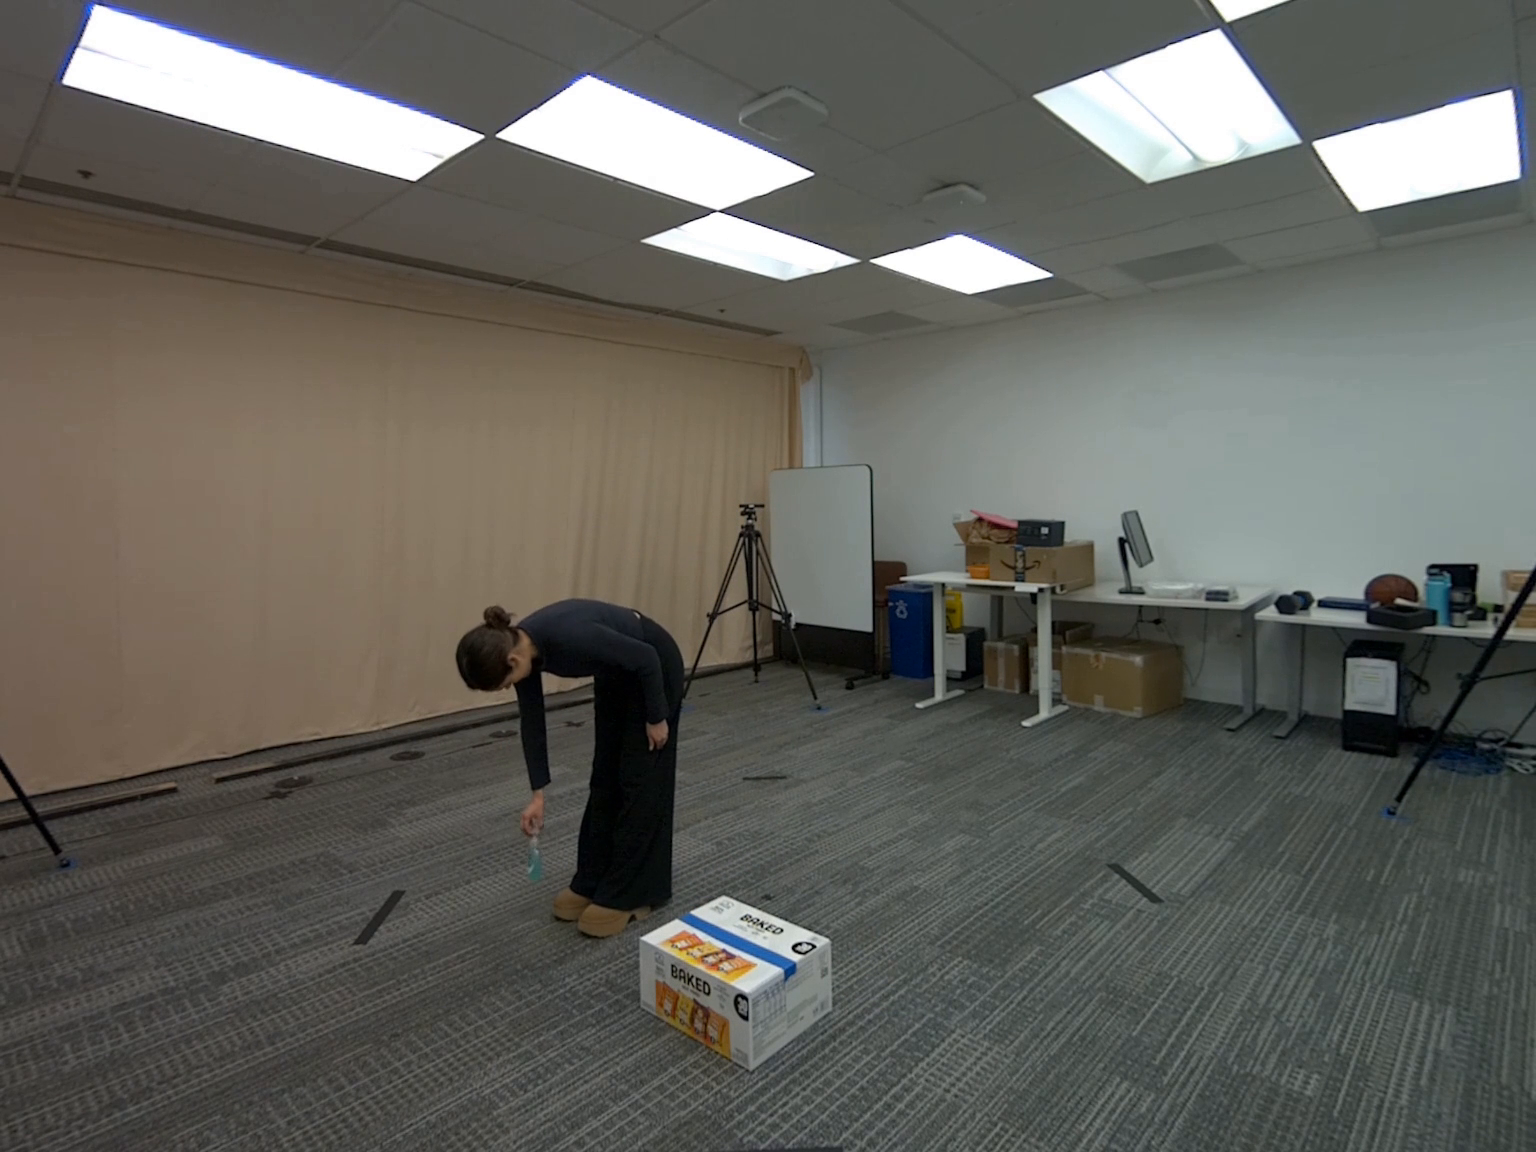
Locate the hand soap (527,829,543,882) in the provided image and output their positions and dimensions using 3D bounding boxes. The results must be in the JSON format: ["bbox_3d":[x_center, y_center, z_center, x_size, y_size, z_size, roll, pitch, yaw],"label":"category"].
[{"bbox_3d":[-0.776,0.912,2.815,0.043,0.169,0.085,-2,-6,-16],"label":"hand soap"}]
